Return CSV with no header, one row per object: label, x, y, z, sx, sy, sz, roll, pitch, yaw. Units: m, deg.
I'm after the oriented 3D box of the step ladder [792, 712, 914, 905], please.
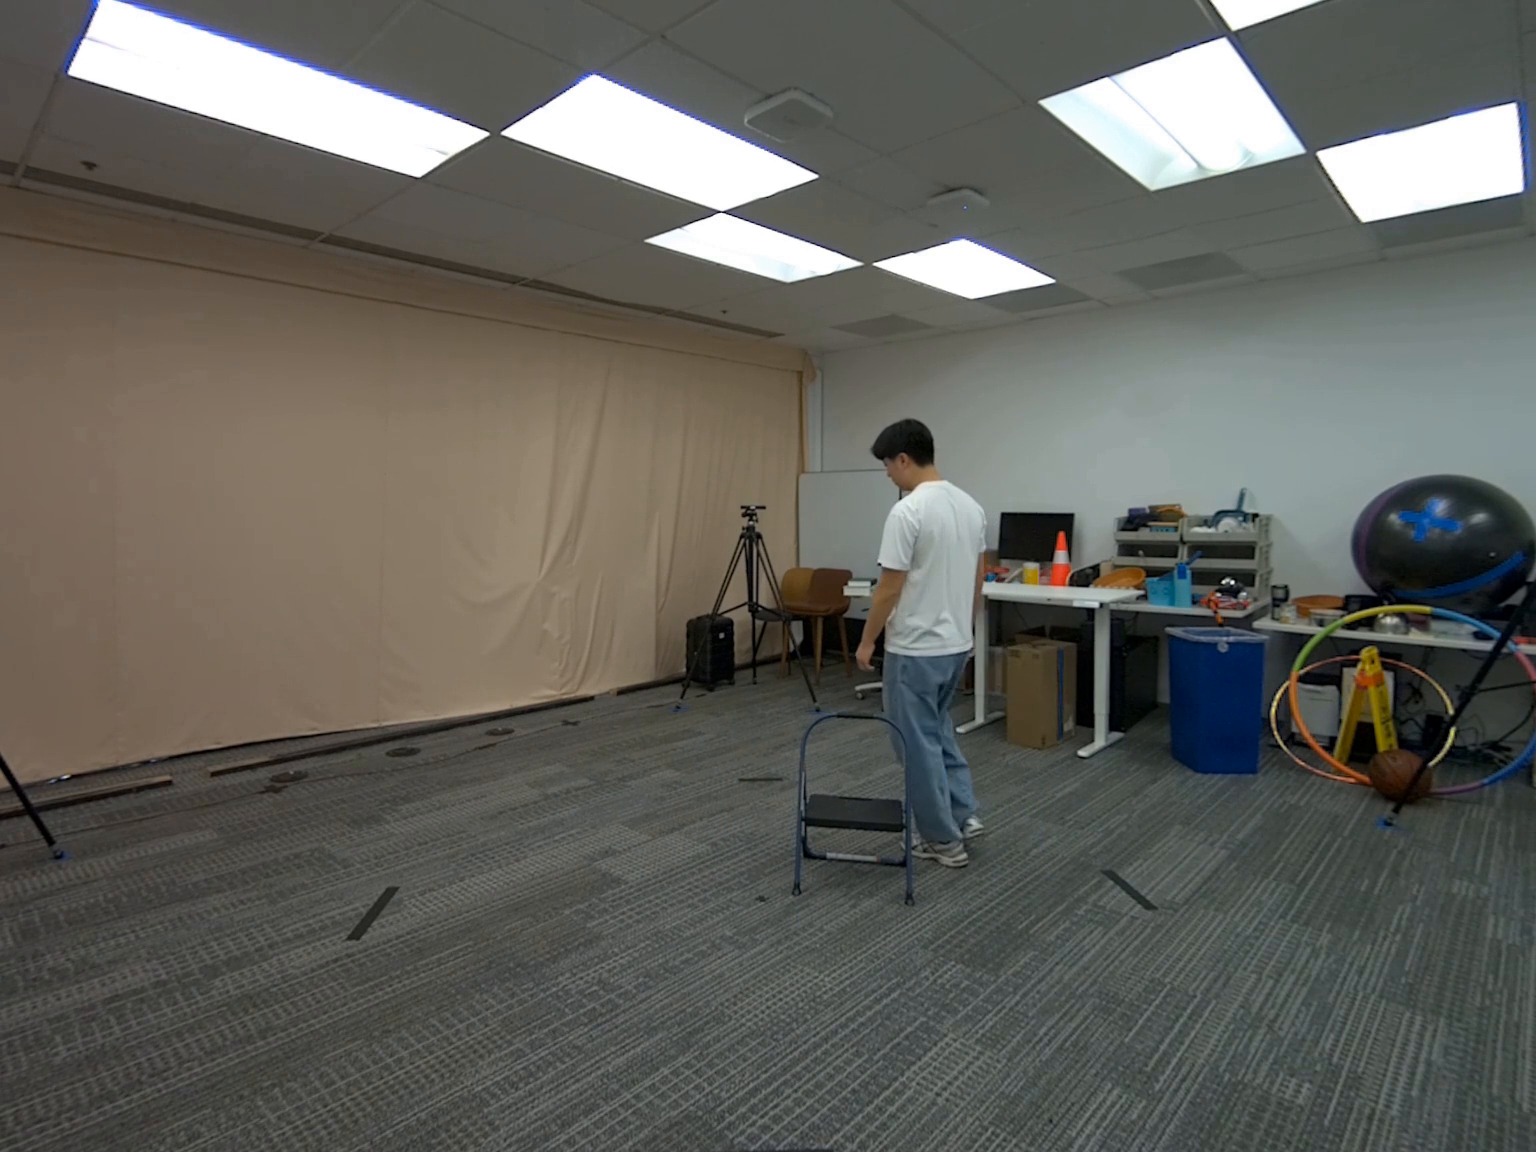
step ladder,0.324,0.831,3.121,0.435,0.605,0.346,0,3,8
